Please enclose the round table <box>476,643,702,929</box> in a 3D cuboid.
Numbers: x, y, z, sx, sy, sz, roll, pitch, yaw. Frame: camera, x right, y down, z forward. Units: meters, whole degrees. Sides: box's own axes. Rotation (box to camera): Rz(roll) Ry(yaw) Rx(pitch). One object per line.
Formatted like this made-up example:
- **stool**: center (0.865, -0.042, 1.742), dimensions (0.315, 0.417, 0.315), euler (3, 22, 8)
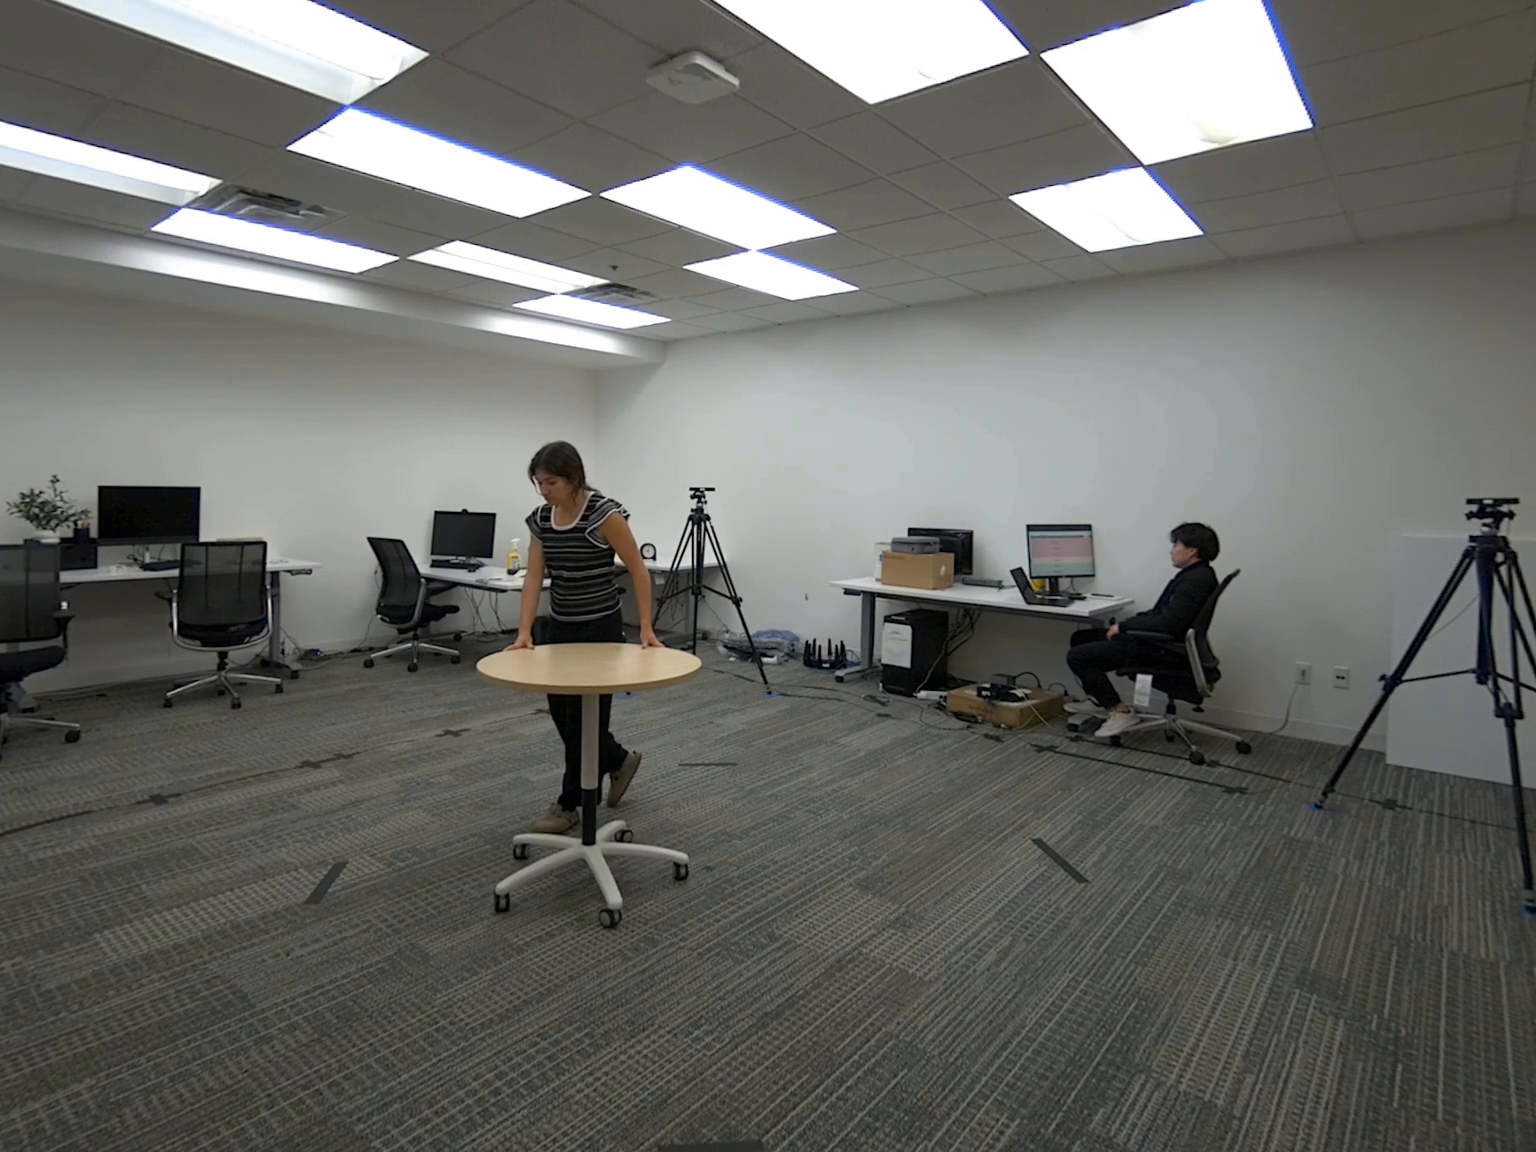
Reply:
- **round table**: center (-0.627, 0.687, 2.964), dimensions (0.763, 0.792, 0.767), euler (0, 4, -2)
